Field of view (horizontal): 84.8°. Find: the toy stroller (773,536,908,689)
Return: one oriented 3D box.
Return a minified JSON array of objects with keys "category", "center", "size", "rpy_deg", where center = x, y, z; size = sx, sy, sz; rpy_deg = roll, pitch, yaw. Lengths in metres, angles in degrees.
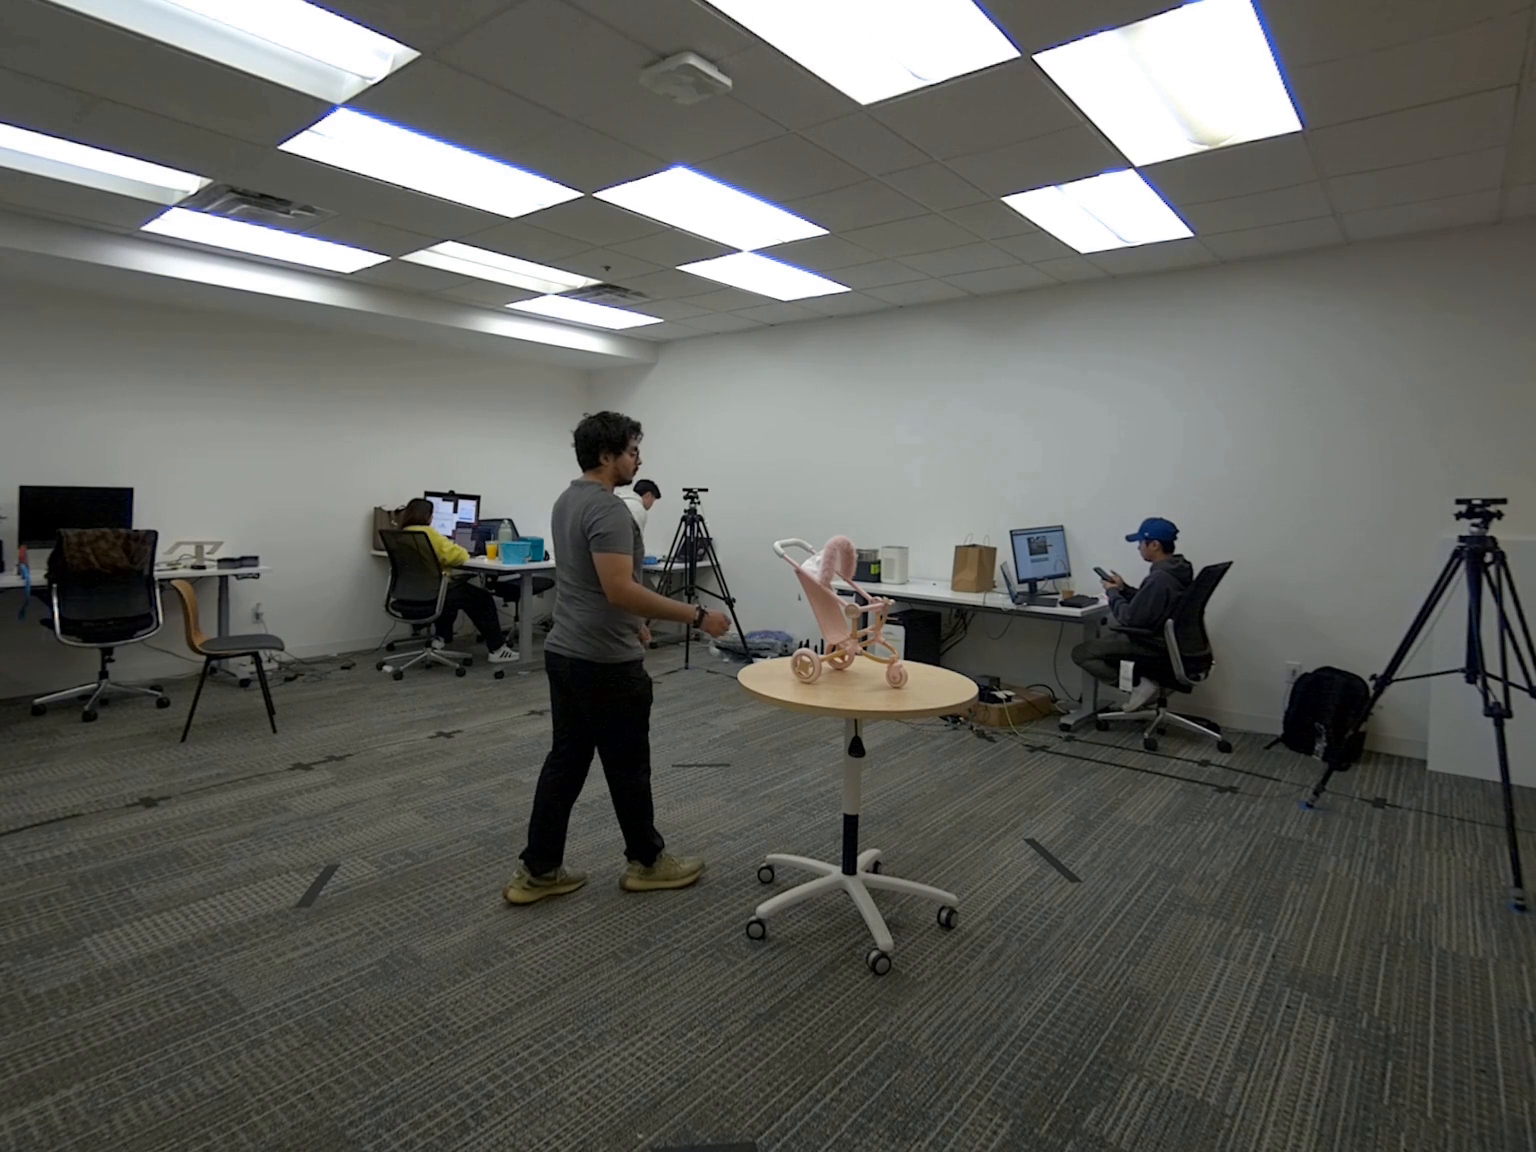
[{"category":"toy stroller","center":[0.235,0.111,2.743],"size":[0.349,0.538,0.274],"rpy_deg":[-15,-5,35]}]
